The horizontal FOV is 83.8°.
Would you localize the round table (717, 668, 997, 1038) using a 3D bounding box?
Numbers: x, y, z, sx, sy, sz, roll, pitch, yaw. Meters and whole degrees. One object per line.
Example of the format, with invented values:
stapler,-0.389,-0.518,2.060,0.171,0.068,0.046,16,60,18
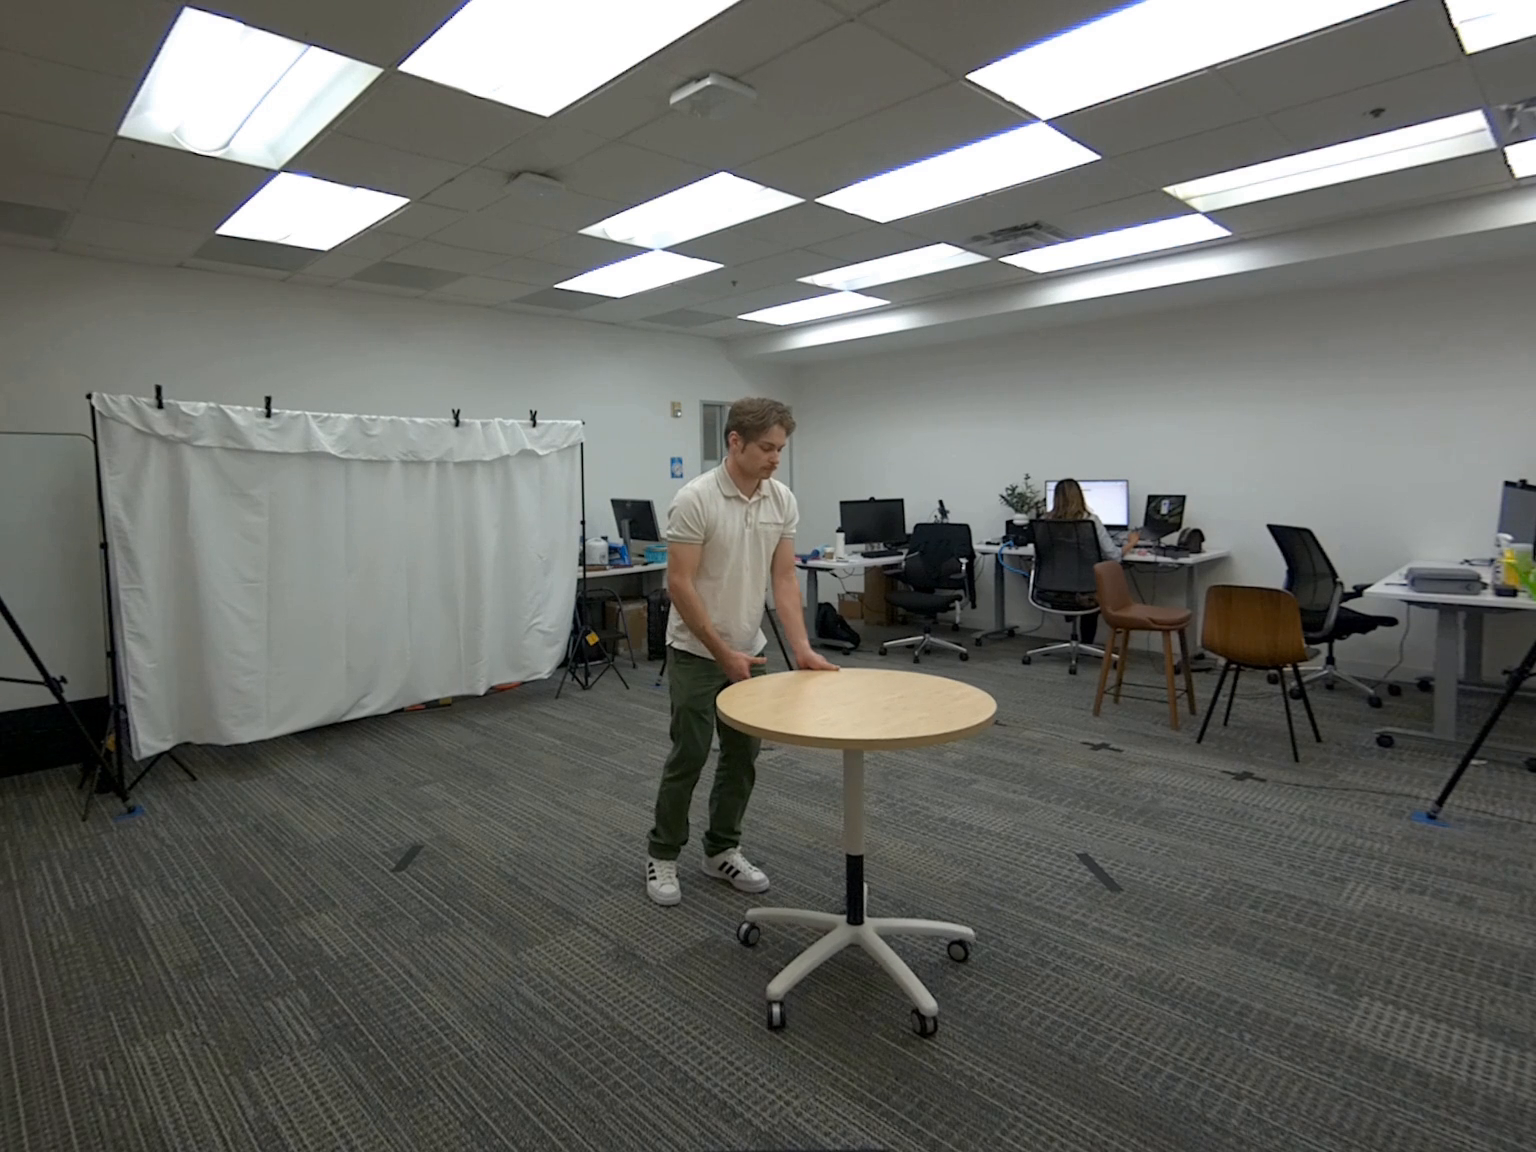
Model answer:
round table,0.243,0.732,2.408,0.763,0.791,0.768,-1,5,-2
